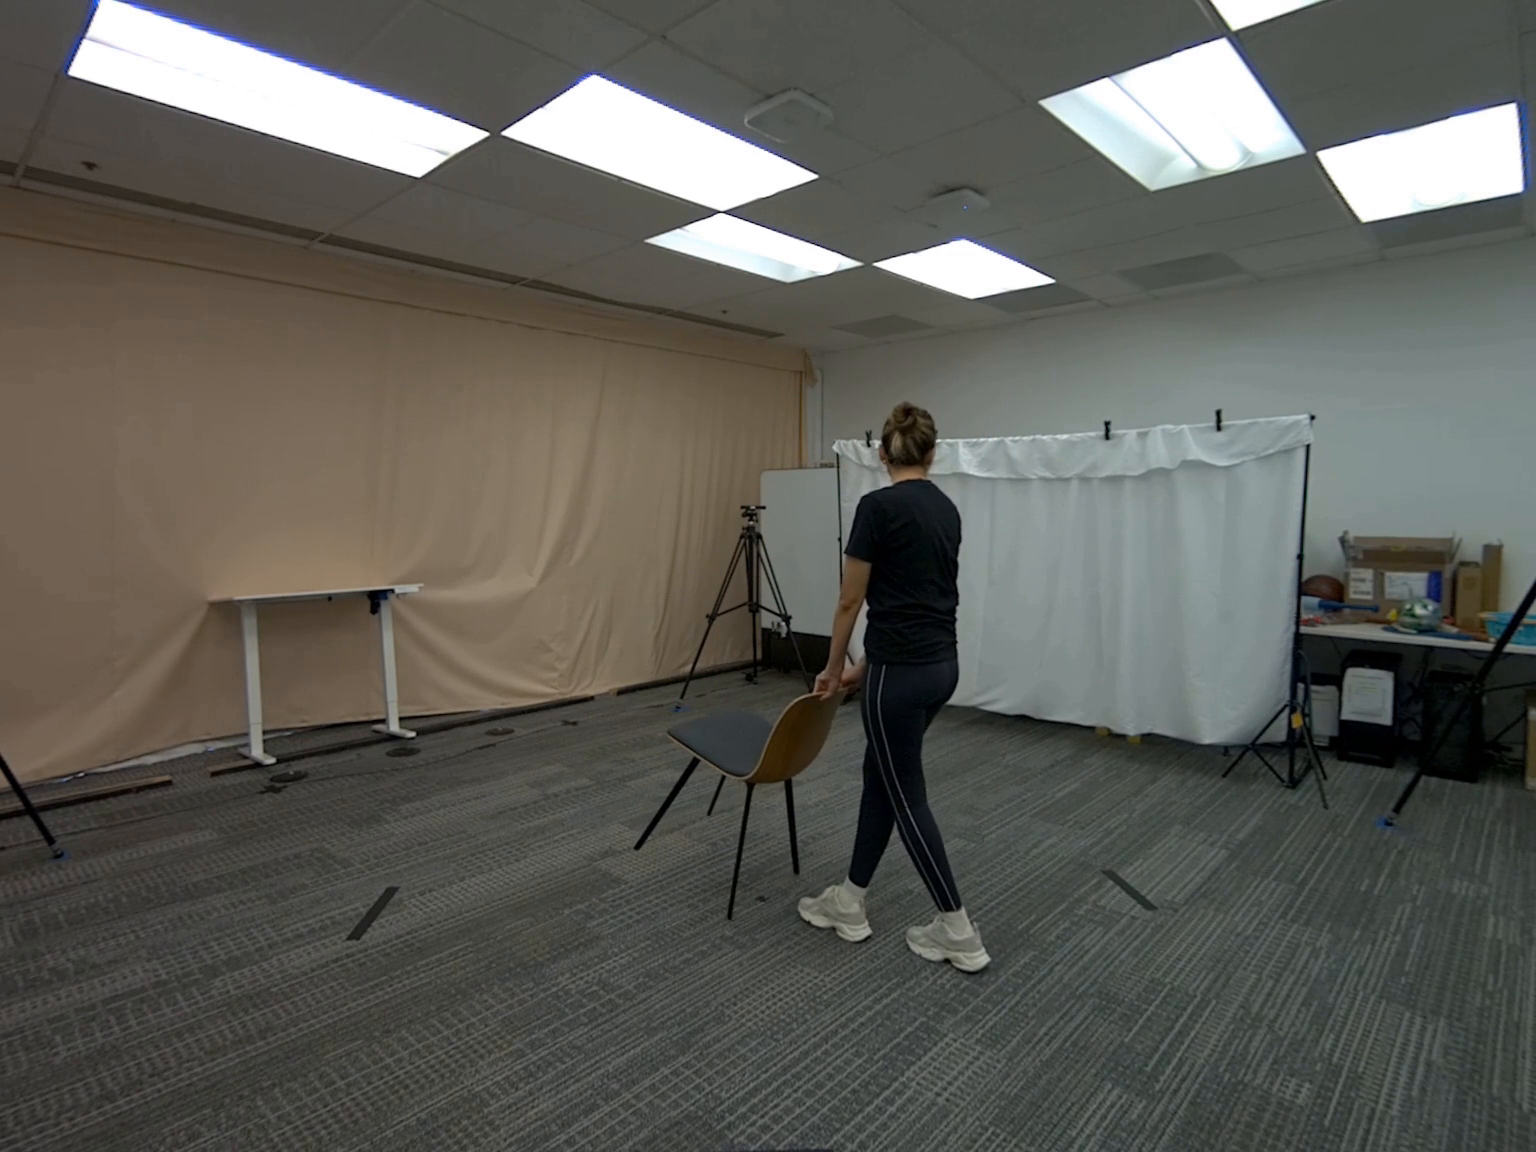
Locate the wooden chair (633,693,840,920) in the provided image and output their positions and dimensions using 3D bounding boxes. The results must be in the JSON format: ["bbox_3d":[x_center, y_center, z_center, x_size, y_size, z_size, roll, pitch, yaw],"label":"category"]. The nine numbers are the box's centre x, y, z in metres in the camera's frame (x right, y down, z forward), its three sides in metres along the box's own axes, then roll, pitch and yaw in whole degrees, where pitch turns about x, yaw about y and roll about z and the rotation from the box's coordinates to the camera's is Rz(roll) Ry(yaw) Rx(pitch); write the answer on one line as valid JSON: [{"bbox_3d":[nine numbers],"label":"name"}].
[{"bbox_3d":[-0.084,0.662,3.029,0.541,0.873,0.464,29,19,31],"label":"wooden chair"}]
